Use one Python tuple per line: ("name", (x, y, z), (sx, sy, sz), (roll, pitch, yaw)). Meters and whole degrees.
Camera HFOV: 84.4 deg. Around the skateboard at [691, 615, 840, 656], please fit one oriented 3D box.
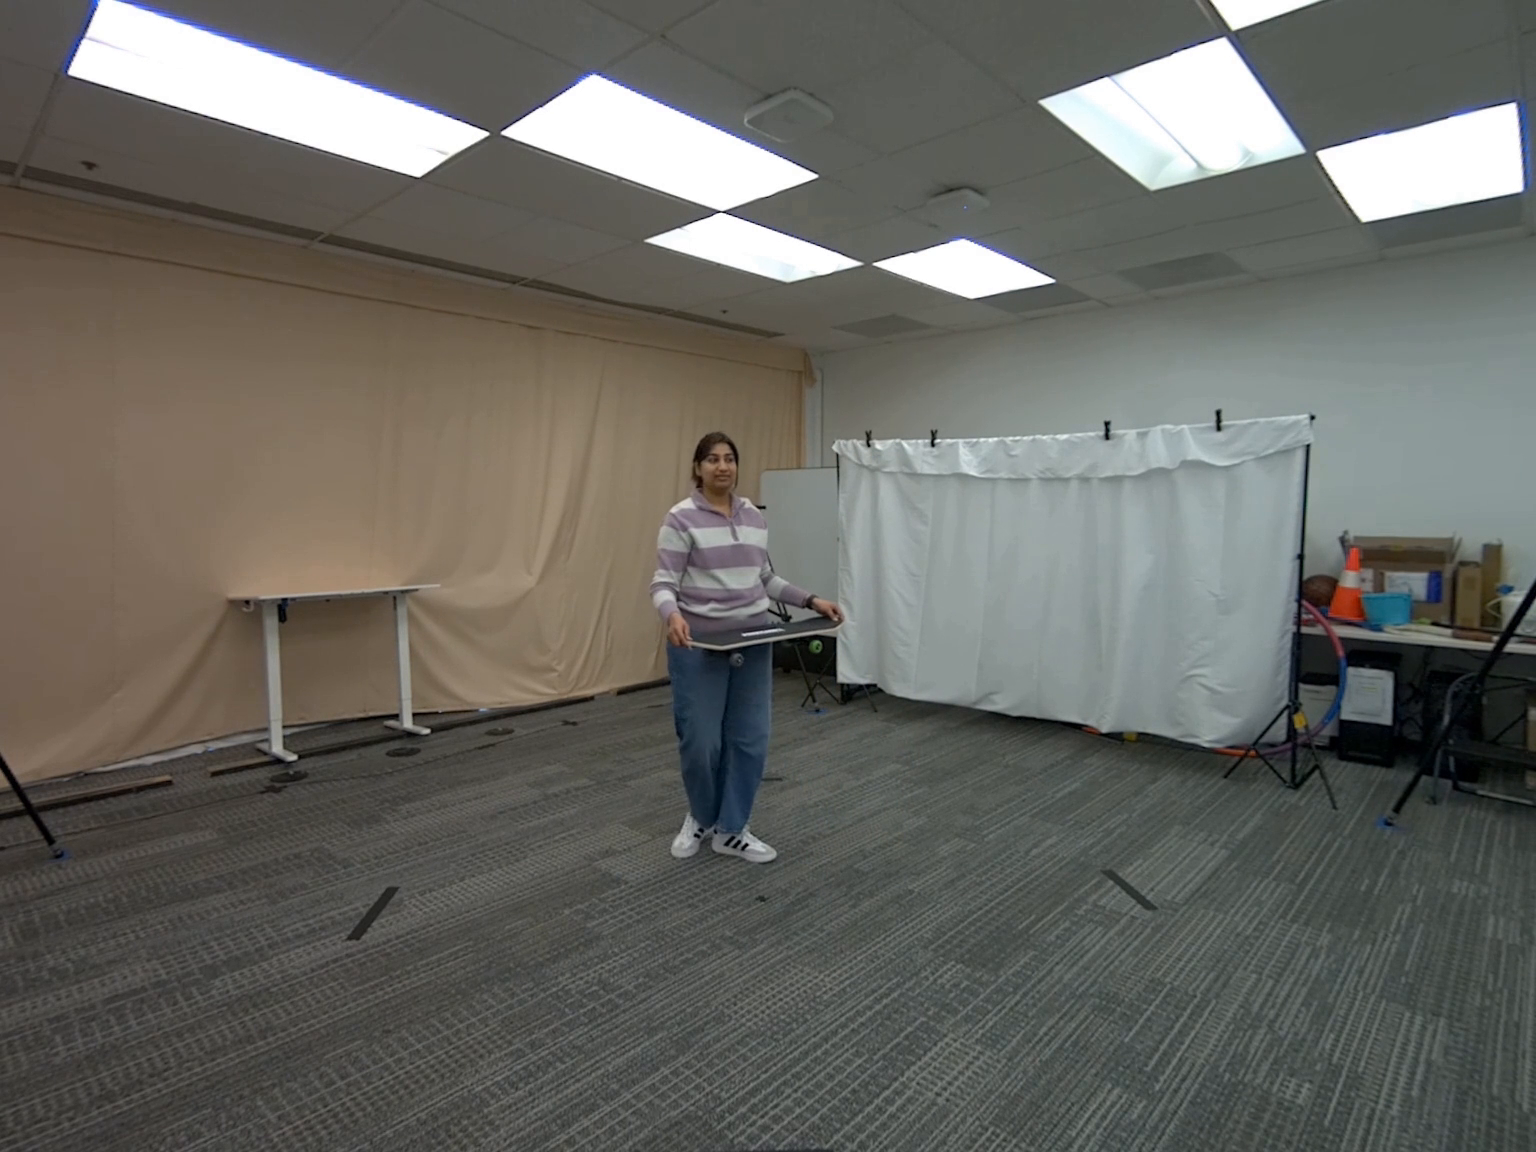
("skateboard", (-0.005, 0.247, 3.112), (0.762, 0.110, 0.200), (-5, 9, -38))
